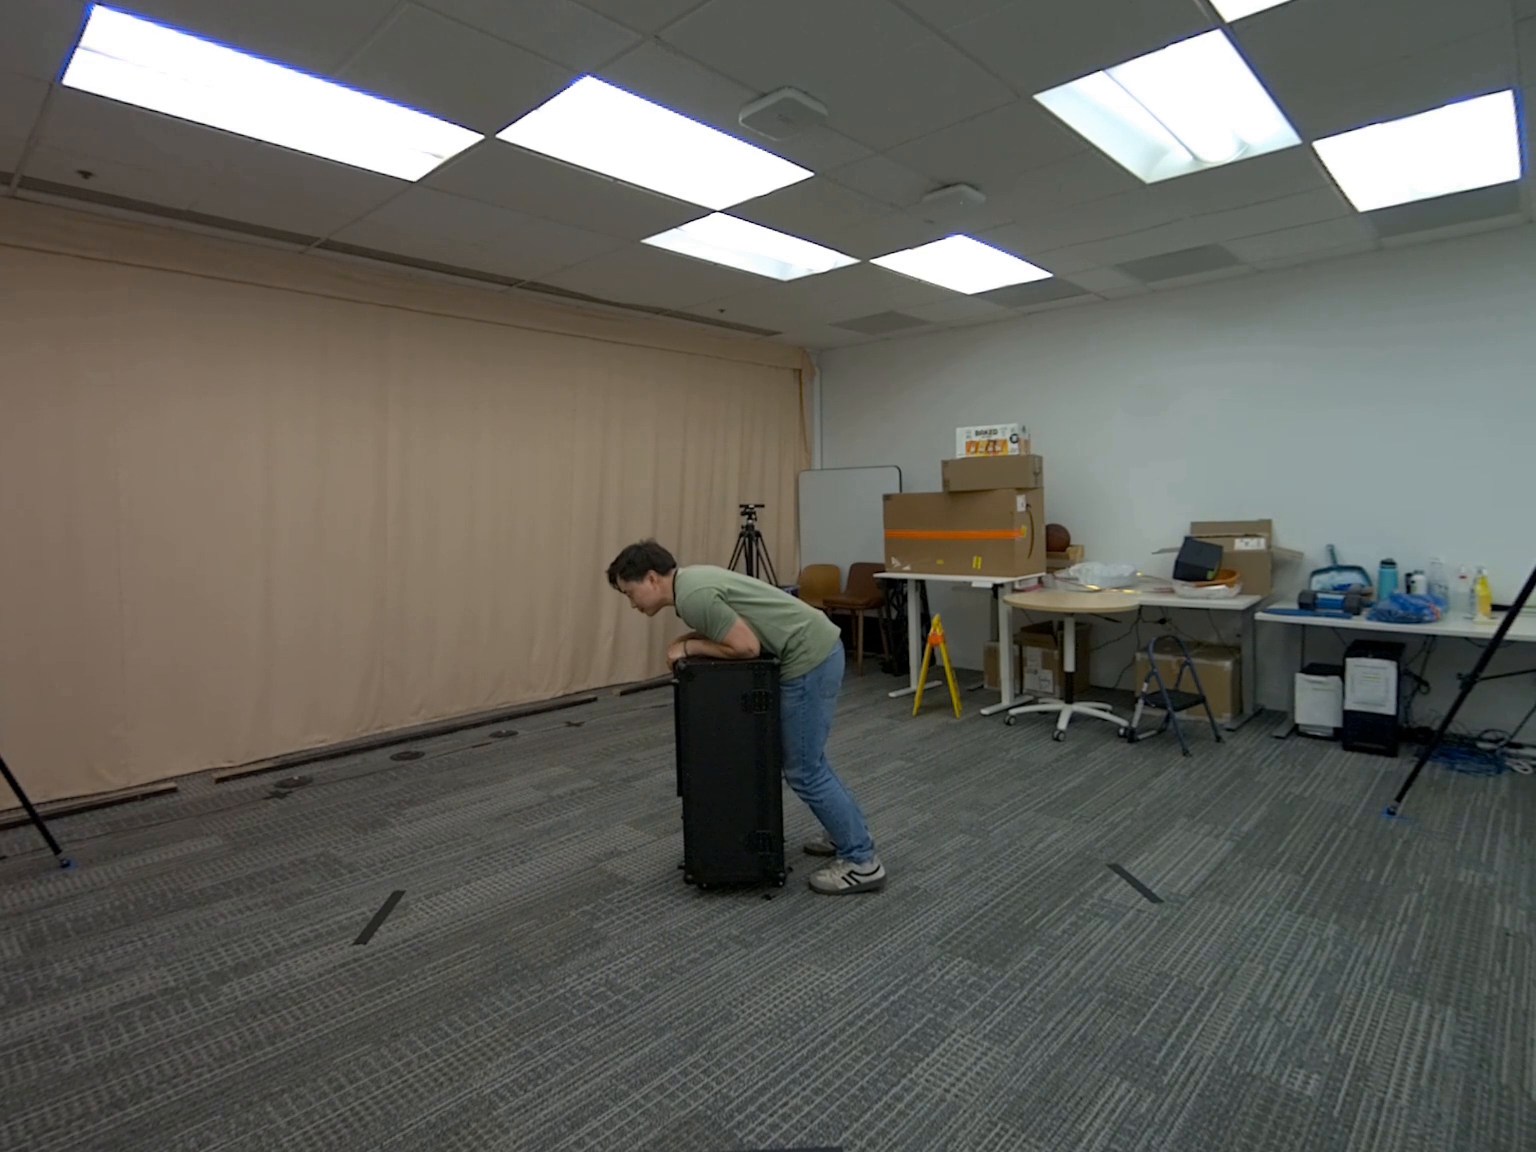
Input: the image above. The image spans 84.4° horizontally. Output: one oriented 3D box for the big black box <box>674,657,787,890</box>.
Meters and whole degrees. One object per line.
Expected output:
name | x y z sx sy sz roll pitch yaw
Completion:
big black box | -0.157 0.714 3.161 0.395 0.859 0.524 -2 4 -4
